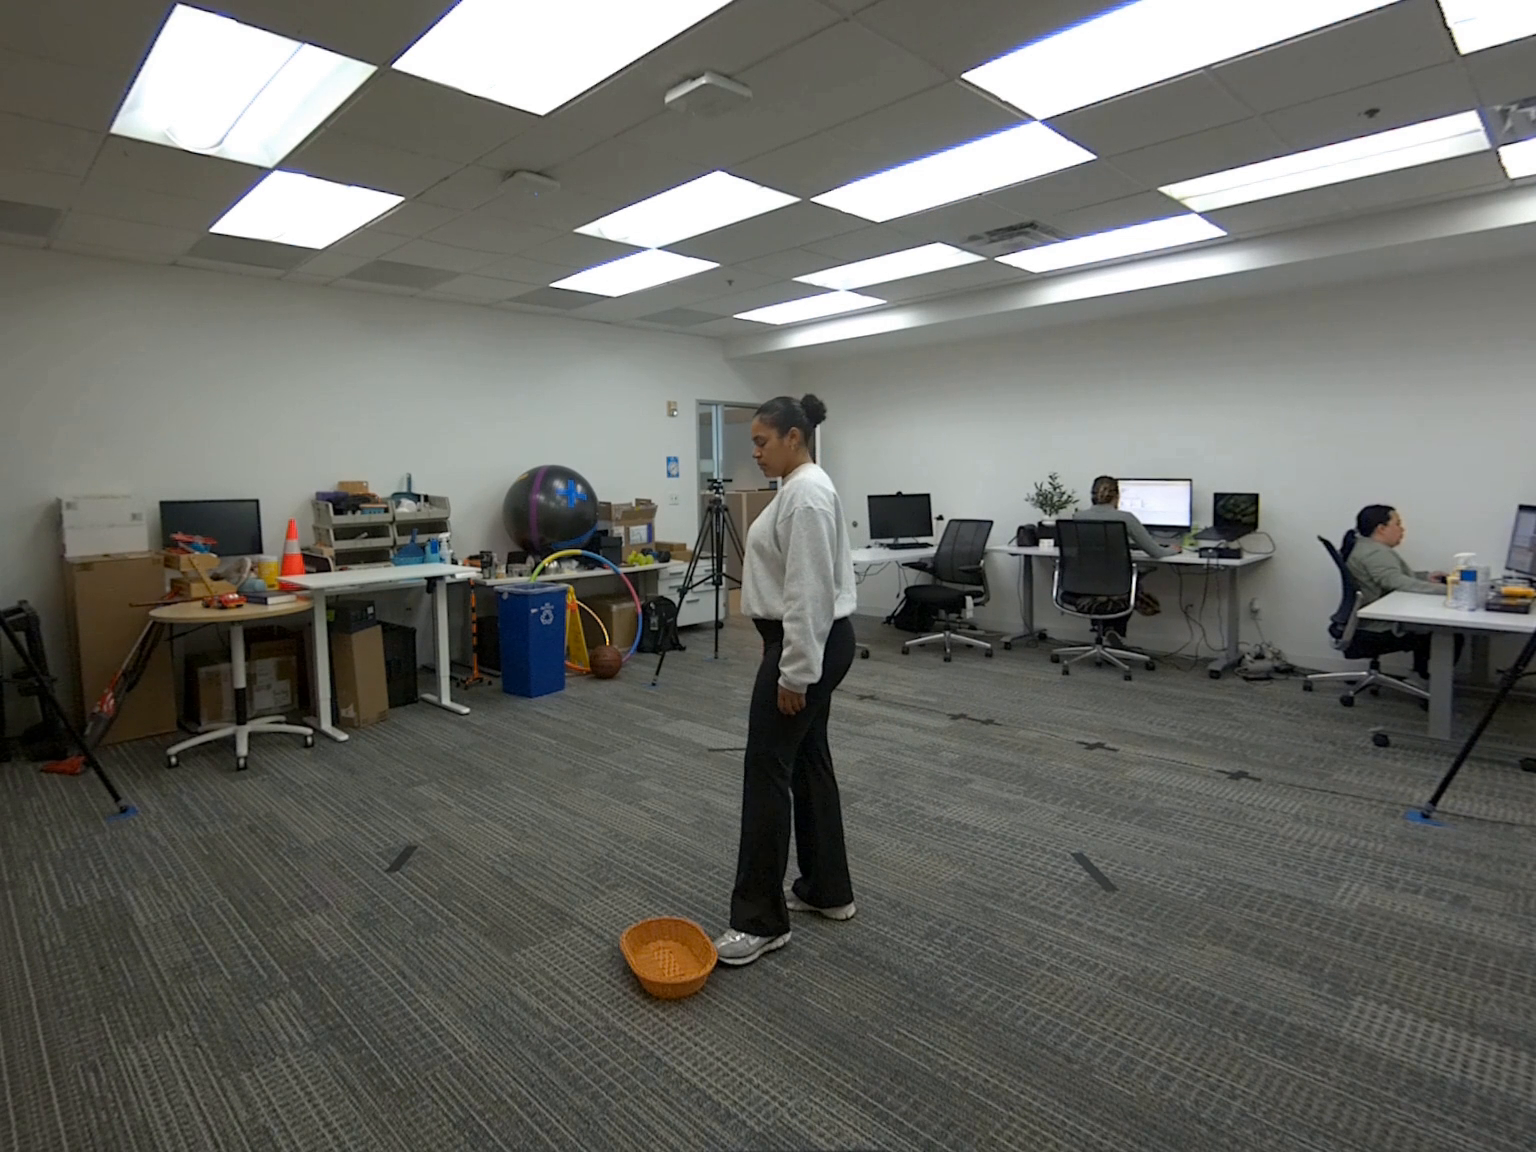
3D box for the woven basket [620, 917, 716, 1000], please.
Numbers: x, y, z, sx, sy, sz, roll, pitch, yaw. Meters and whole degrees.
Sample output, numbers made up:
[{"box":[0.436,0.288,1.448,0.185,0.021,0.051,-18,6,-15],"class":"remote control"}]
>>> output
[{"box":[-0.274,1.088,2.443,0.248,0.073,0.358,-4,8,-19],"class":"woven basket"}]
